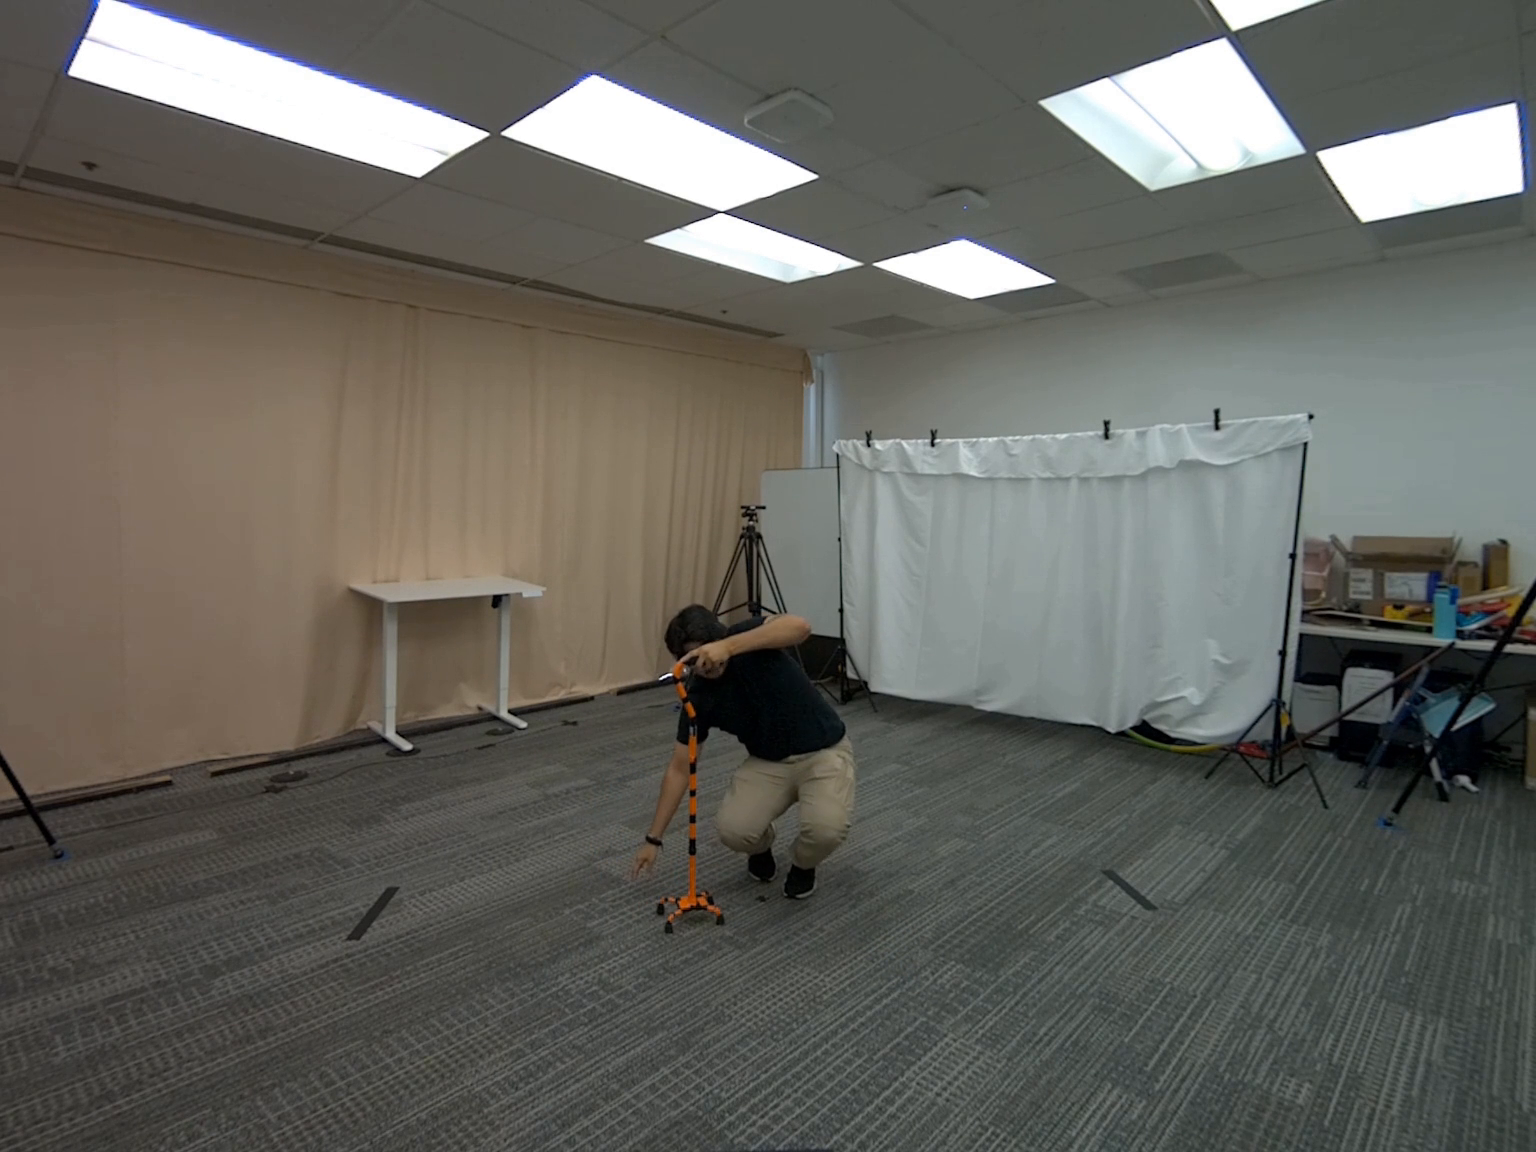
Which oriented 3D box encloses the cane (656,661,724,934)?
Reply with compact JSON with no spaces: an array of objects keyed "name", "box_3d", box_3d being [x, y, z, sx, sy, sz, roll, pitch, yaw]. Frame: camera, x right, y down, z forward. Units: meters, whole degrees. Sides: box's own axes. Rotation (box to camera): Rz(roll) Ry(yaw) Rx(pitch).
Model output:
[{"name":"cane","box_3d":[-0.249,0.721,2.779,0.203,0.904,0.155,-1,7,-17]}]
